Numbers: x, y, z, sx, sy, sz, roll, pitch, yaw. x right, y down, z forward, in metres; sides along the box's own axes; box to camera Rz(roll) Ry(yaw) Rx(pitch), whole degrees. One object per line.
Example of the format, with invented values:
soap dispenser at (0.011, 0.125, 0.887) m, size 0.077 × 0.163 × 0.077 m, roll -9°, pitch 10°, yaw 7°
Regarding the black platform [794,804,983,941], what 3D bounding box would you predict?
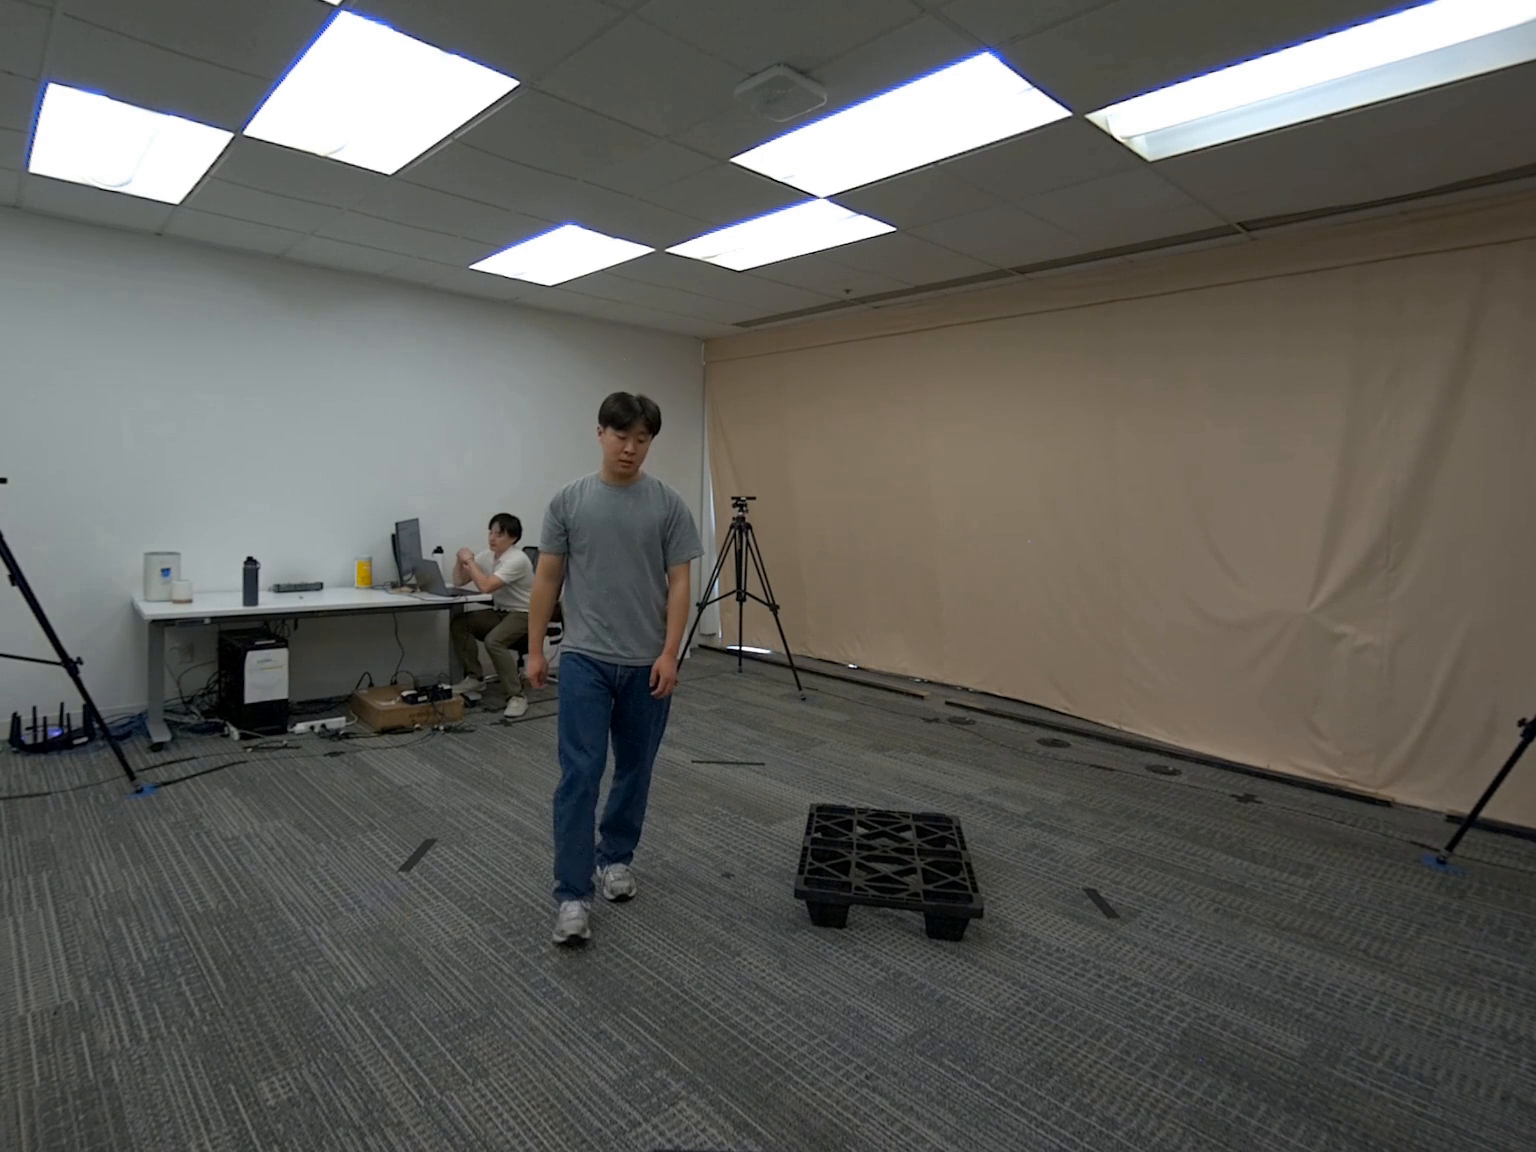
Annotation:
black platform at (0.414, 1.053, 3.062) m, size 0.609 × 0.143 × 0.802 m, roll 2°, pitch 5°, yaw 7°
